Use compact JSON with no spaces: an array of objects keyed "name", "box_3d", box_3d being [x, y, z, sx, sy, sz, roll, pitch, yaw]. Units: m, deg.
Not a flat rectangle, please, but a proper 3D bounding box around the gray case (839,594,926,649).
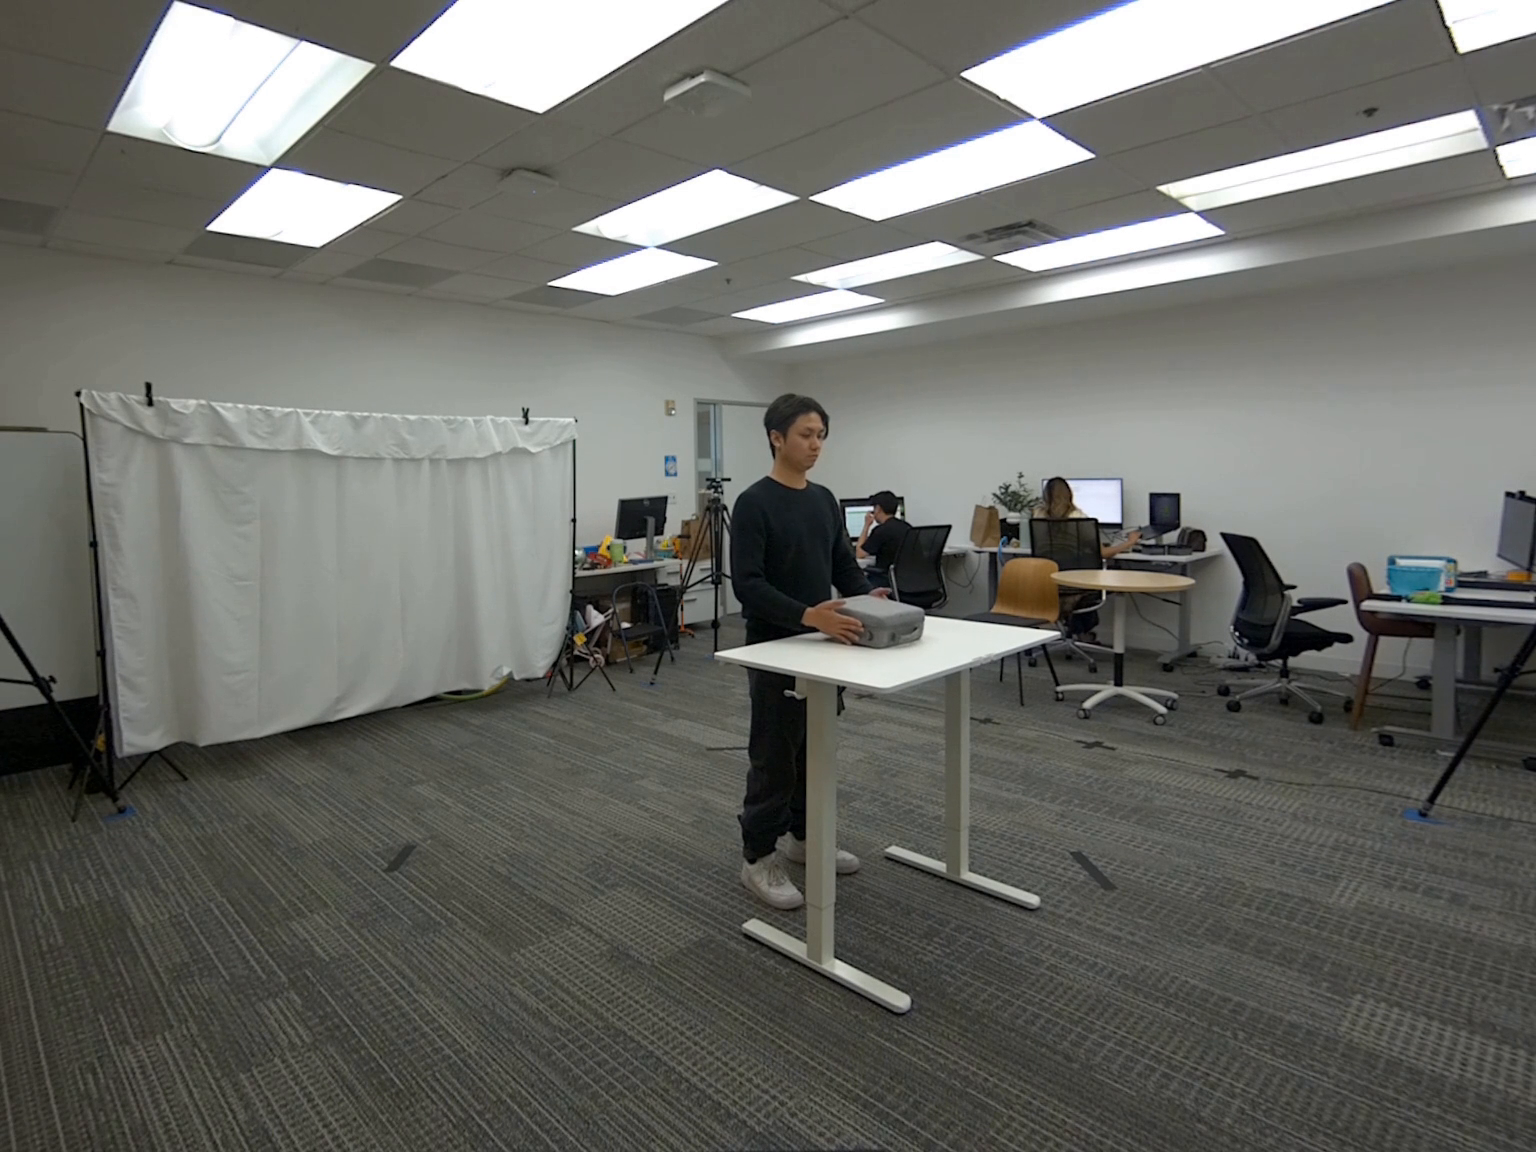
[{"name":"gray case","box_3d":[0.328,0.141,2.685,0.269,0.103,0.250,12,11,41]}]
